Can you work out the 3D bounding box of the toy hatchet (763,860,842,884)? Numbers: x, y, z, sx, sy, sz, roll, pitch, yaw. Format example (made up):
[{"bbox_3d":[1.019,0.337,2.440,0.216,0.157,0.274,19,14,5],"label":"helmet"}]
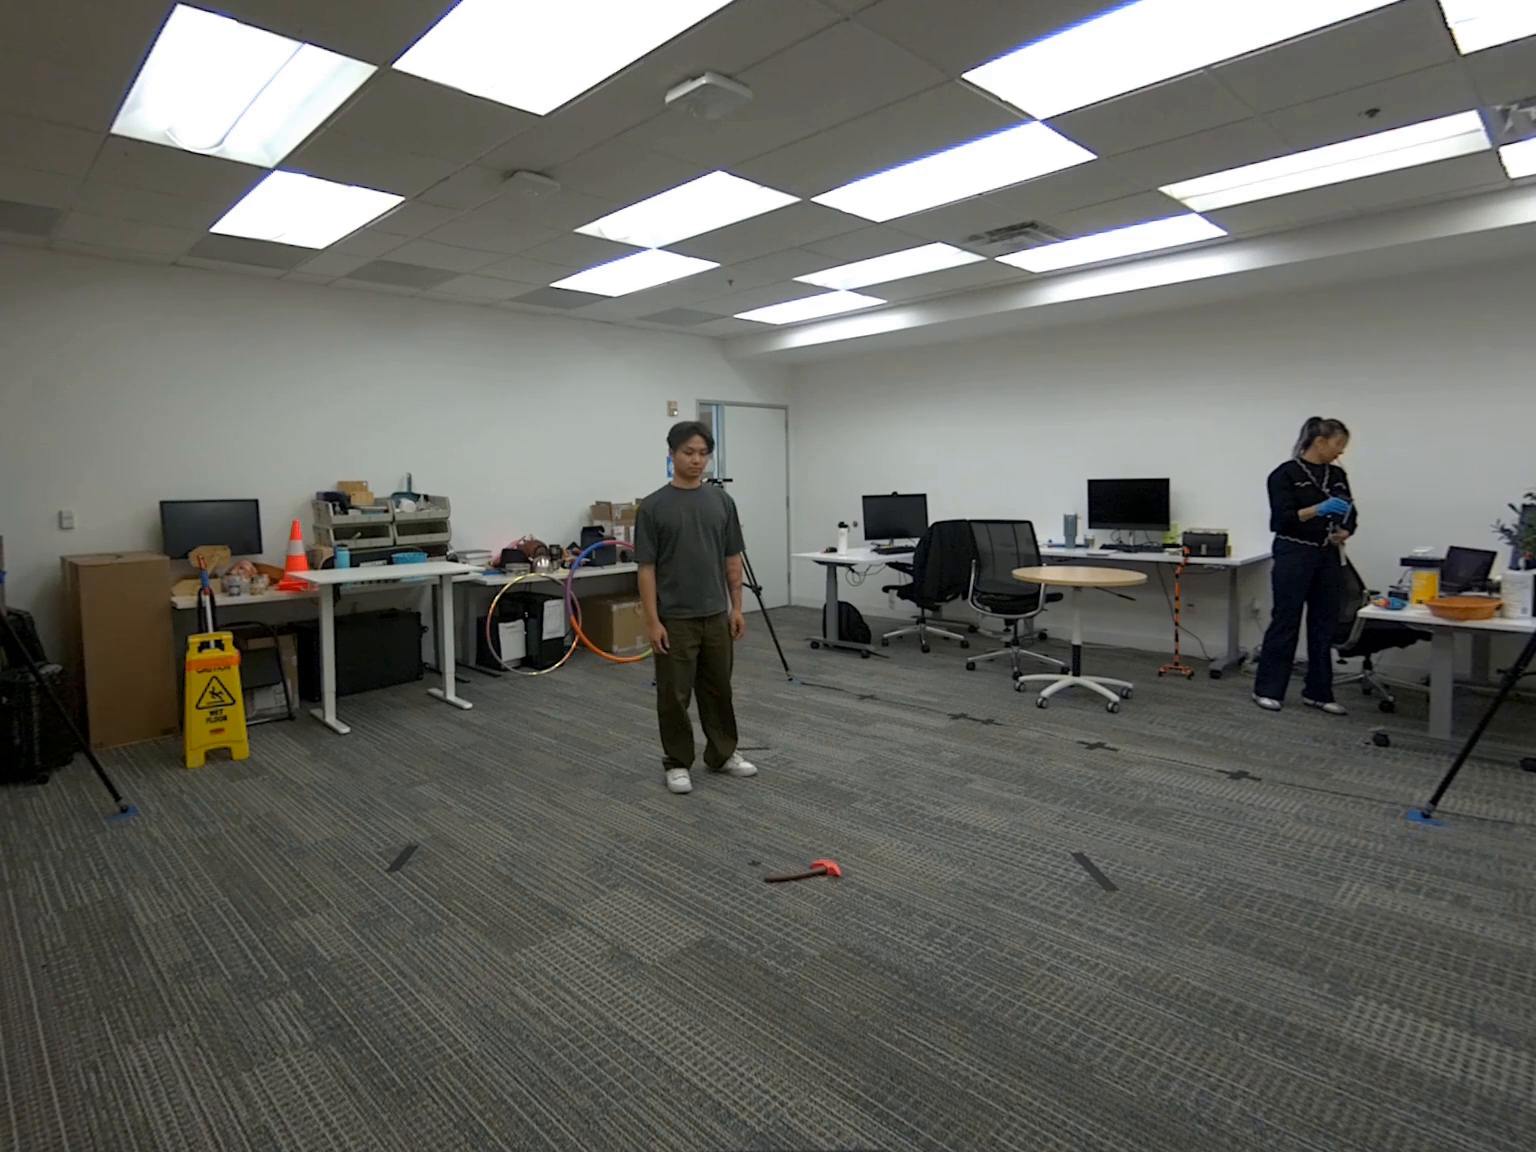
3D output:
[{"bbox_3d":[0.120,1.039,3.022,0.269,0.029,0.132,-3,7,-5],"label":"toy hatchet"}]
